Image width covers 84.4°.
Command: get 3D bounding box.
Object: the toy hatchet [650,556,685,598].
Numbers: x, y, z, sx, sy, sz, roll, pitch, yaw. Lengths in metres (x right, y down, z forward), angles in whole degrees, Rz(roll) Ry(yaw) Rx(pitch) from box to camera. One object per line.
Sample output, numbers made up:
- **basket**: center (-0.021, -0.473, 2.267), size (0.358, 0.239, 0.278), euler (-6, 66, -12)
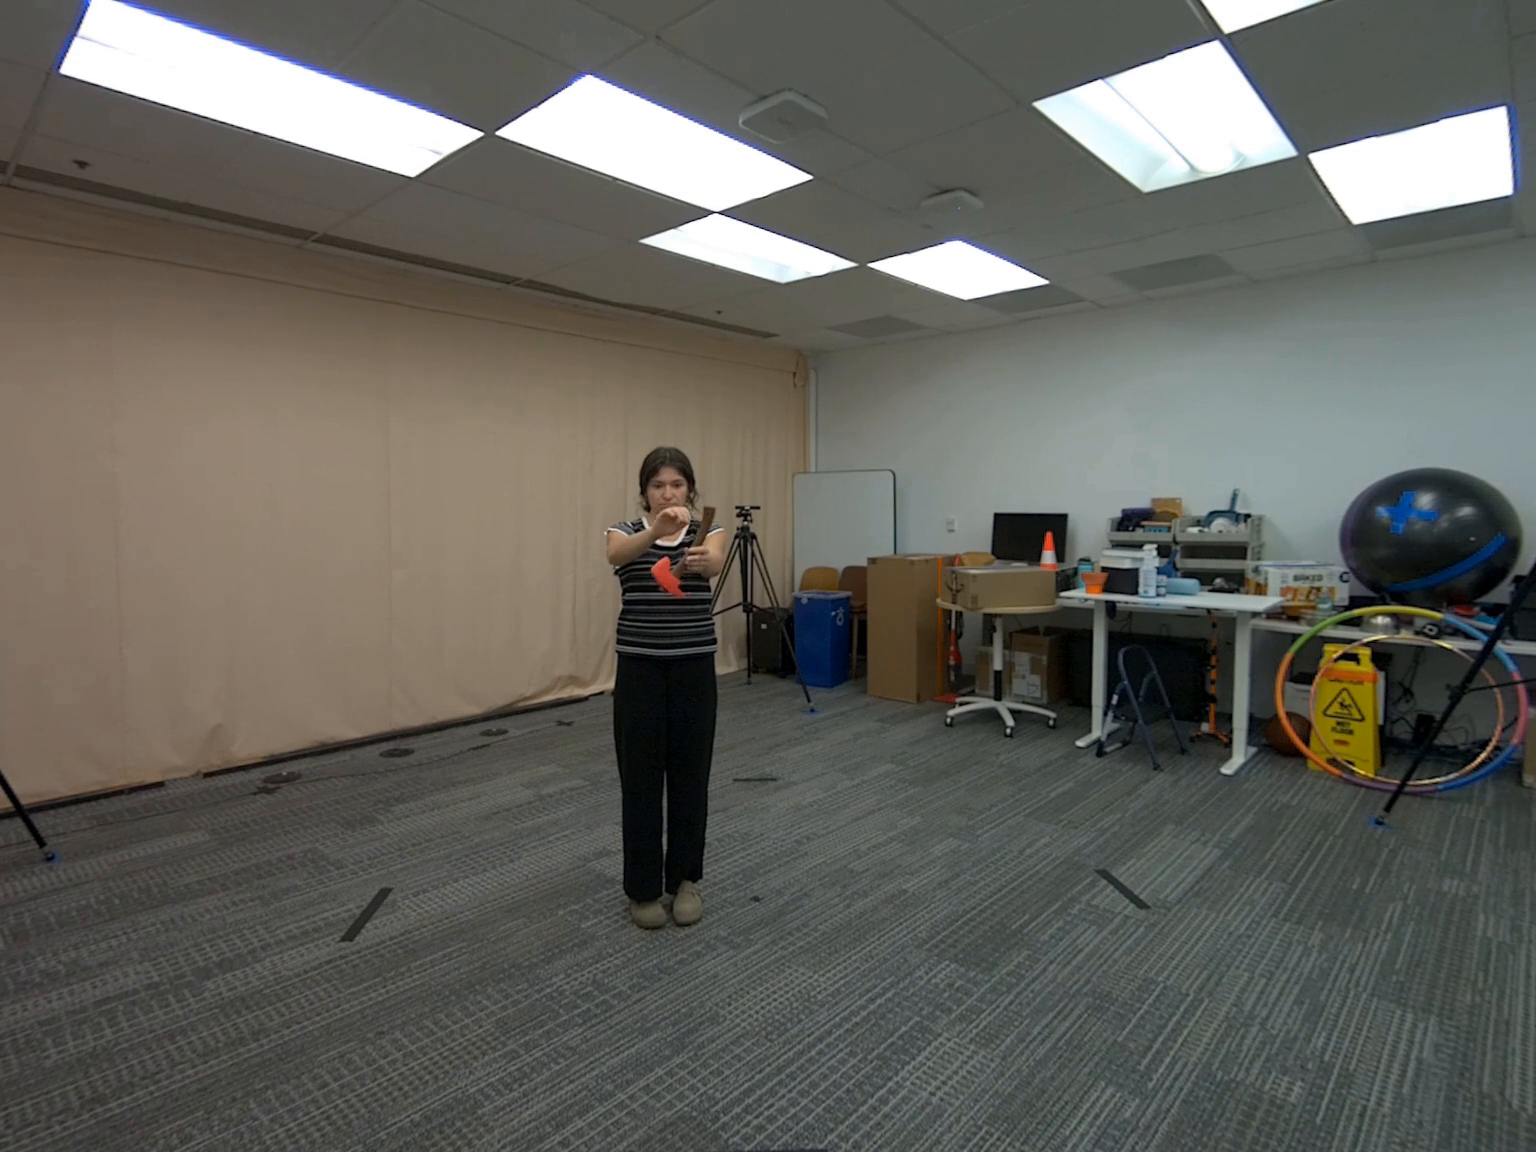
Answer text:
- **toy hatchet**: center (-0.239, -0.081, 2.295), size (0.127, 0.270, 0.030), euler (21, -2, -33)
